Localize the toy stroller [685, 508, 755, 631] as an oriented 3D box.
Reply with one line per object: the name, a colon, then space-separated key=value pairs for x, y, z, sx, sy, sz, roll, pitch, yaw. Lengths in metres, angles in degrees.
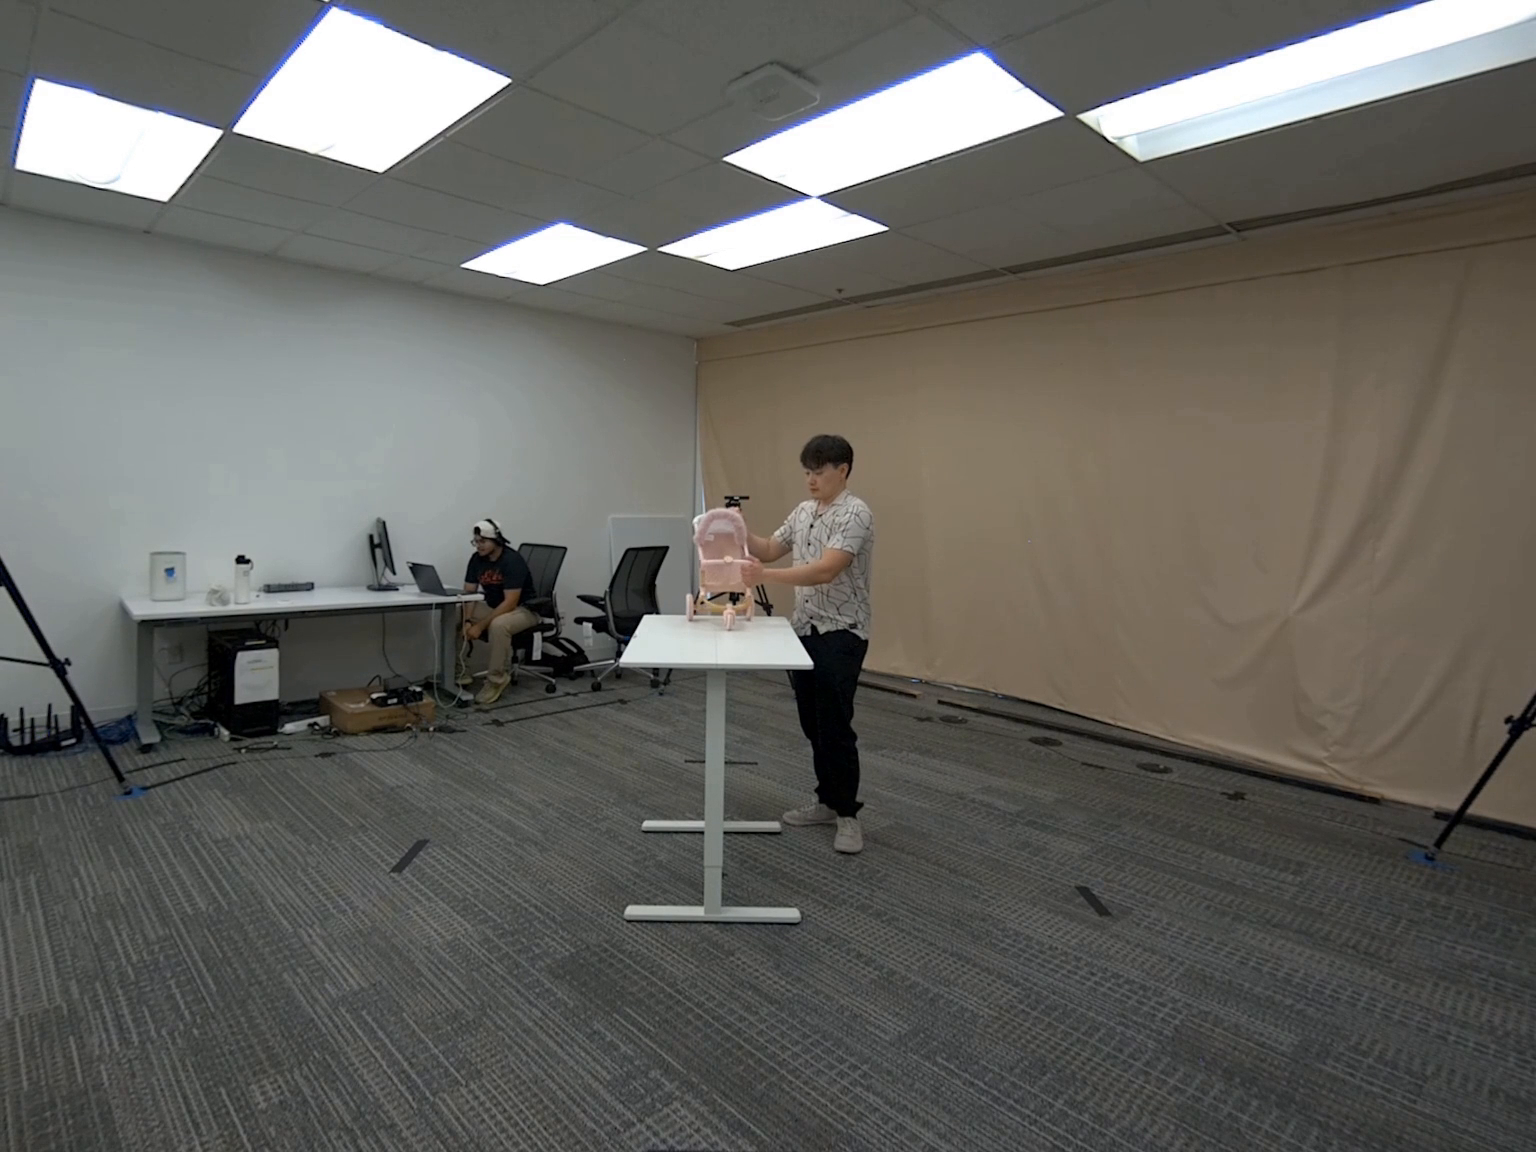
toy stroller: x=-0.193 y=-0.031 z=3.390 sx=0.280 sy=0.540 sz=0.340 roll=0 pitch=-11 yaw=-7
